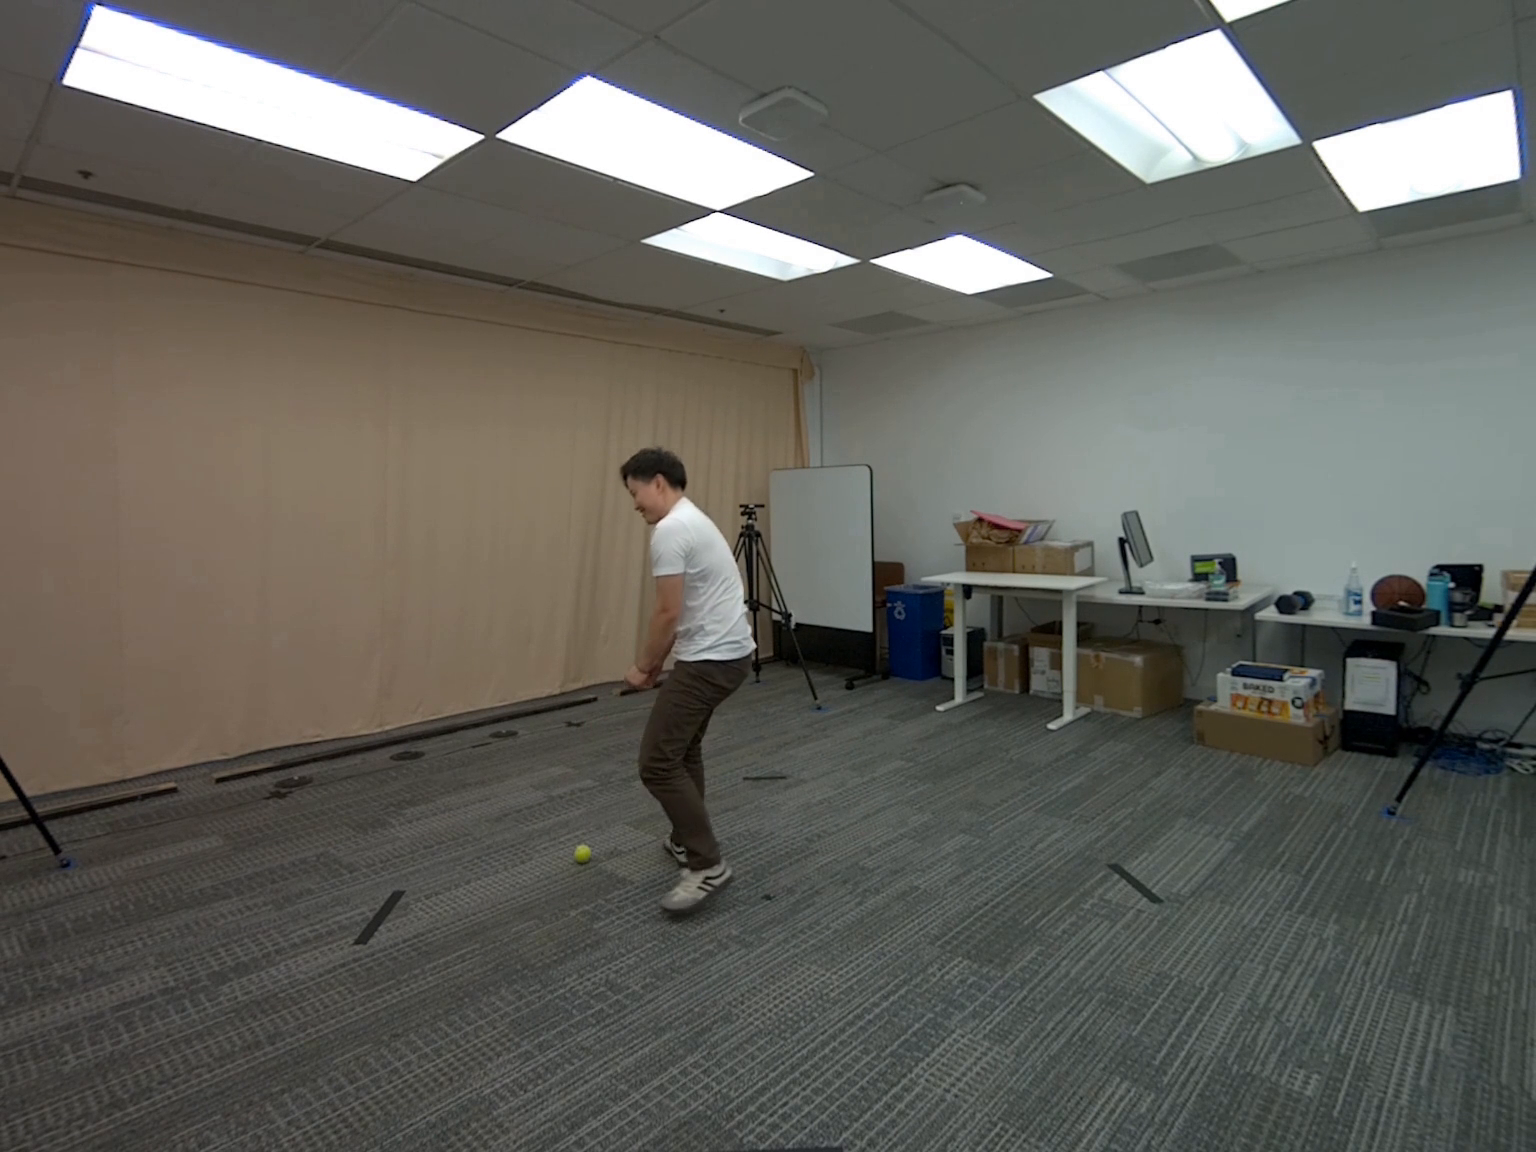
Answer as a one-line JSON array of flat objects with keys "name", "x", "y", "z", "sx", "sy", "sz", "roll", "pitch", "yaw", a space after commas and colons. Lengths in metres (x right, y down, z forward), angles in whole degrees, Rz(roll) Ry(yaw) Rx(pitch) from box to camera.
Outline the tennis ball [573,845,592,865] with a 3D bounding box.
[{"name": "tennis ball", "x": -0.732, "y": 1.089, "z": 3.321, "sx": 0.066, "sy": 0.066, "sz": 0.067, "roll": -1, "pitch": 4, "yaw": -2}]
